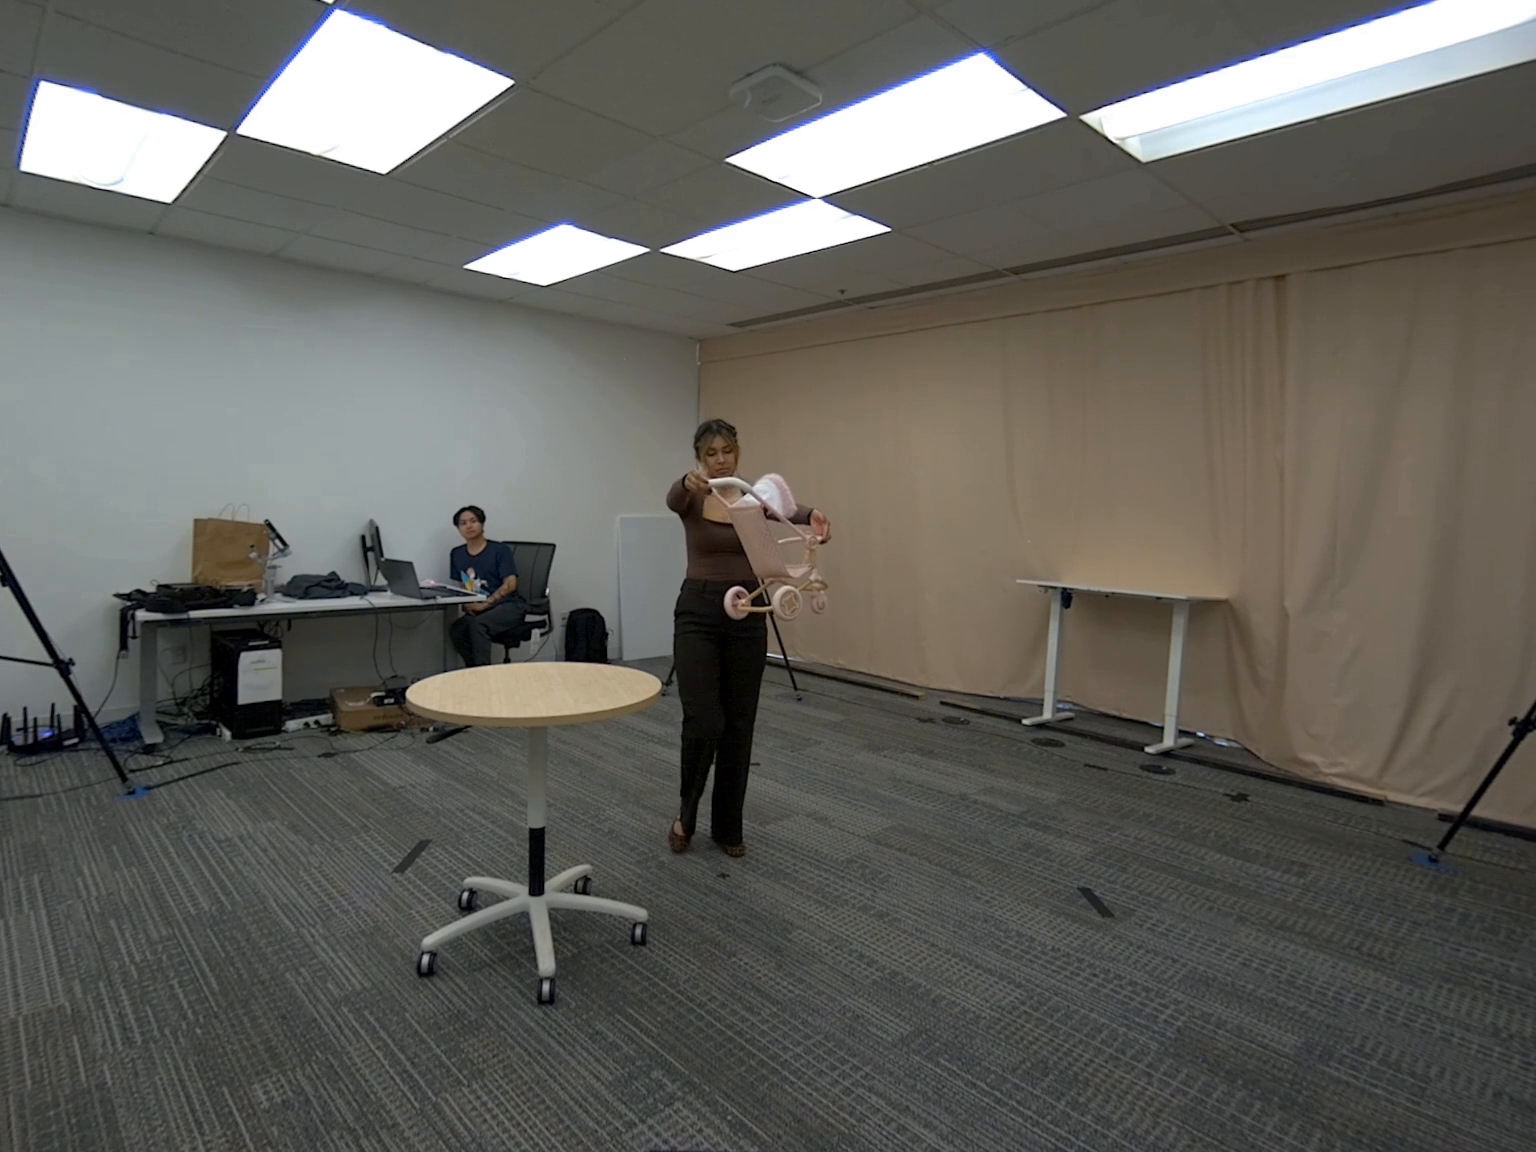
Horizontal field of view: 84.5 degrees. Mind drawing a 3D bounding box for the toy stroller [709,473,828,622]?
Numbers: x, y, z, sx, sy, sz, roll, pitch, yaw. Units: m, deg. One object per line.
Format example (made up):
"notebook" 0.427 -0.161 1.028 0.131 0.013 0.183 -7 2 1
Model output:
"toy stroller" 0.017 -0.087 2.766 0.336 0.531 0.287 -17 9 -33
